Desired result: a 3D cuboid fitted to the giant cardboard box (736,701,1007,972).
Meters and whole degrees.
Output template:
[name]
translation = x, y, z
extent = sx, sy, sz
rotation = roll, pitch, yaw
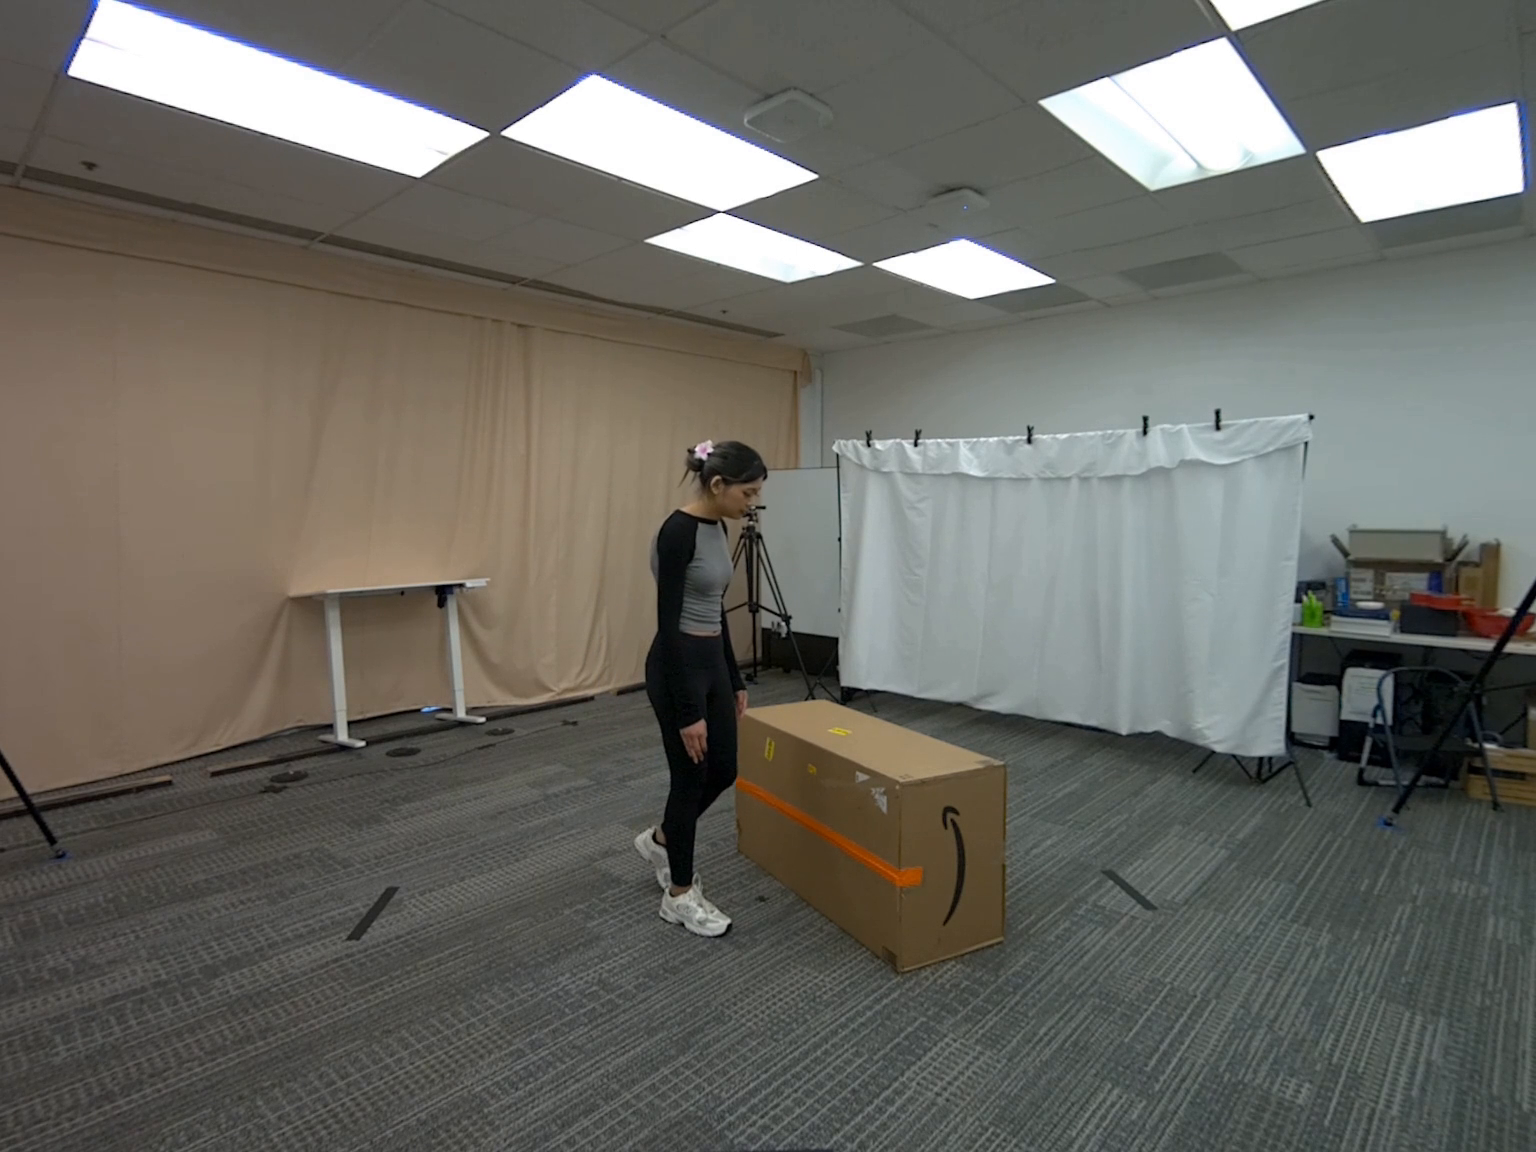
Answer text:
[giant cardboard box]
translation = 0.316, 0.849, 3.033
extent = 0.415, 0.576, 1.055
rotation = -2, 4, -29
